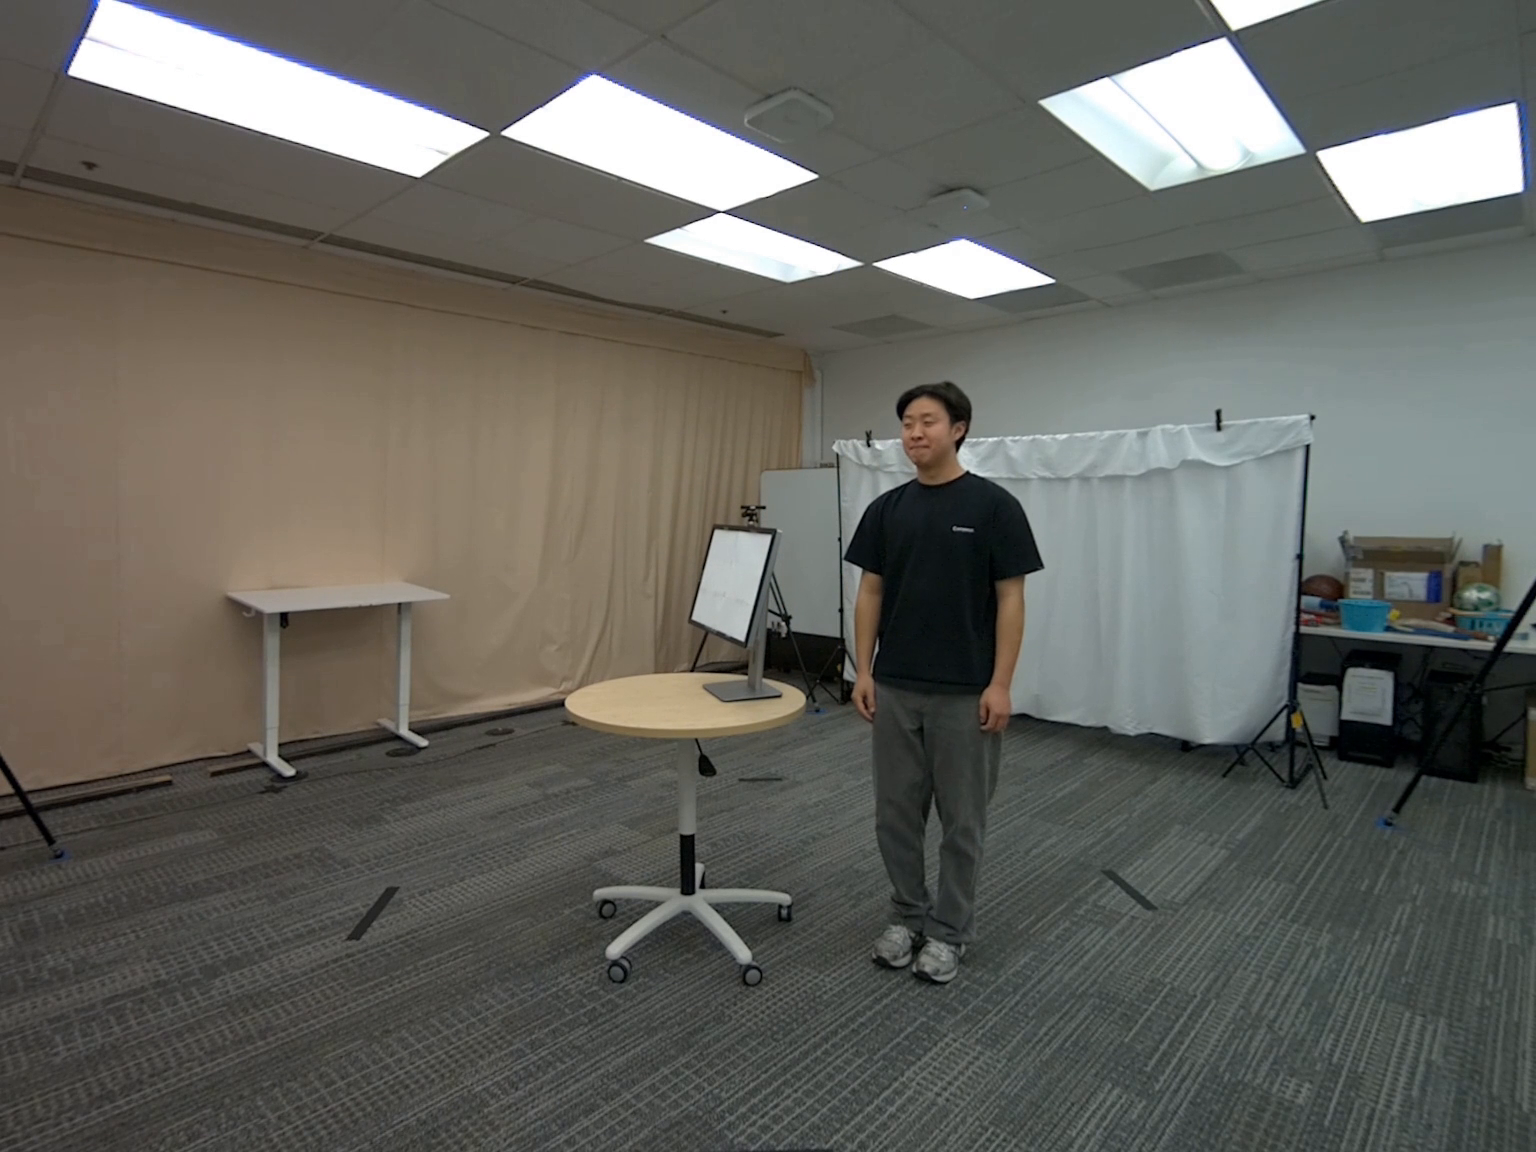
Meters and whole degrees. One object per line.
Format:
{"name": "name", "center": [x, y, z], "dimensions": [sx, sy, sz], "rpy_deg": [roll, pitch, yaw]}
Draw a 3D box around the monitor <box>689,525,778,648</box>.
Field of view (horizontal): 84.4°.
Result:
{"name": "monitor", "center": [-0.087, 0.122, 2.753], "dimensions": [0.218, 0.565, 0.574], "rpy_deg": [-2, 4, -21]}
